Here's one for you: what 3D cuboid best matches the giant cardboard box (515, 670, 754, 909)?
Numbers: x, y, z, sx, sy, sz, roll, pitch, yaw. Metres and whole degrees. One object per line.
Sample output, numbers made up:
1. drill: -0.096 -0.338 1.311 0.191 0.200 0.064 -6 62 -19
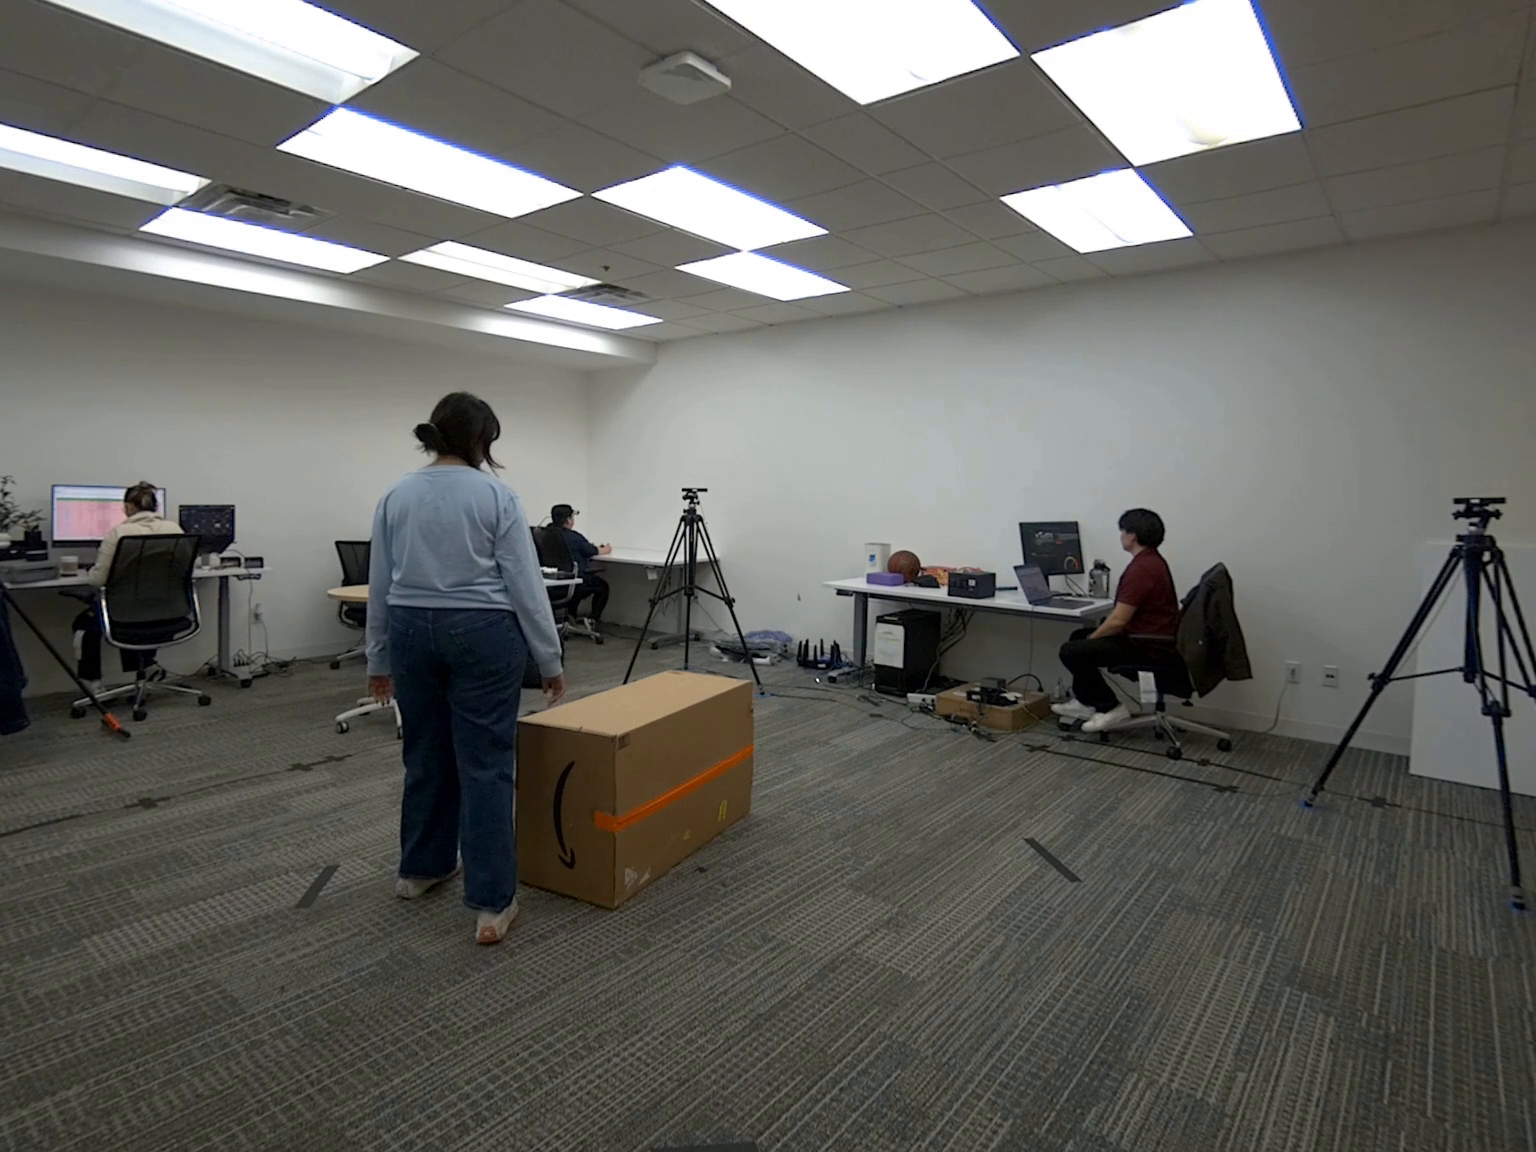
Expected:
1. giant cardboard box: -0.479 0.759 3.318 0.459 0.582 1.003 2 5 26
